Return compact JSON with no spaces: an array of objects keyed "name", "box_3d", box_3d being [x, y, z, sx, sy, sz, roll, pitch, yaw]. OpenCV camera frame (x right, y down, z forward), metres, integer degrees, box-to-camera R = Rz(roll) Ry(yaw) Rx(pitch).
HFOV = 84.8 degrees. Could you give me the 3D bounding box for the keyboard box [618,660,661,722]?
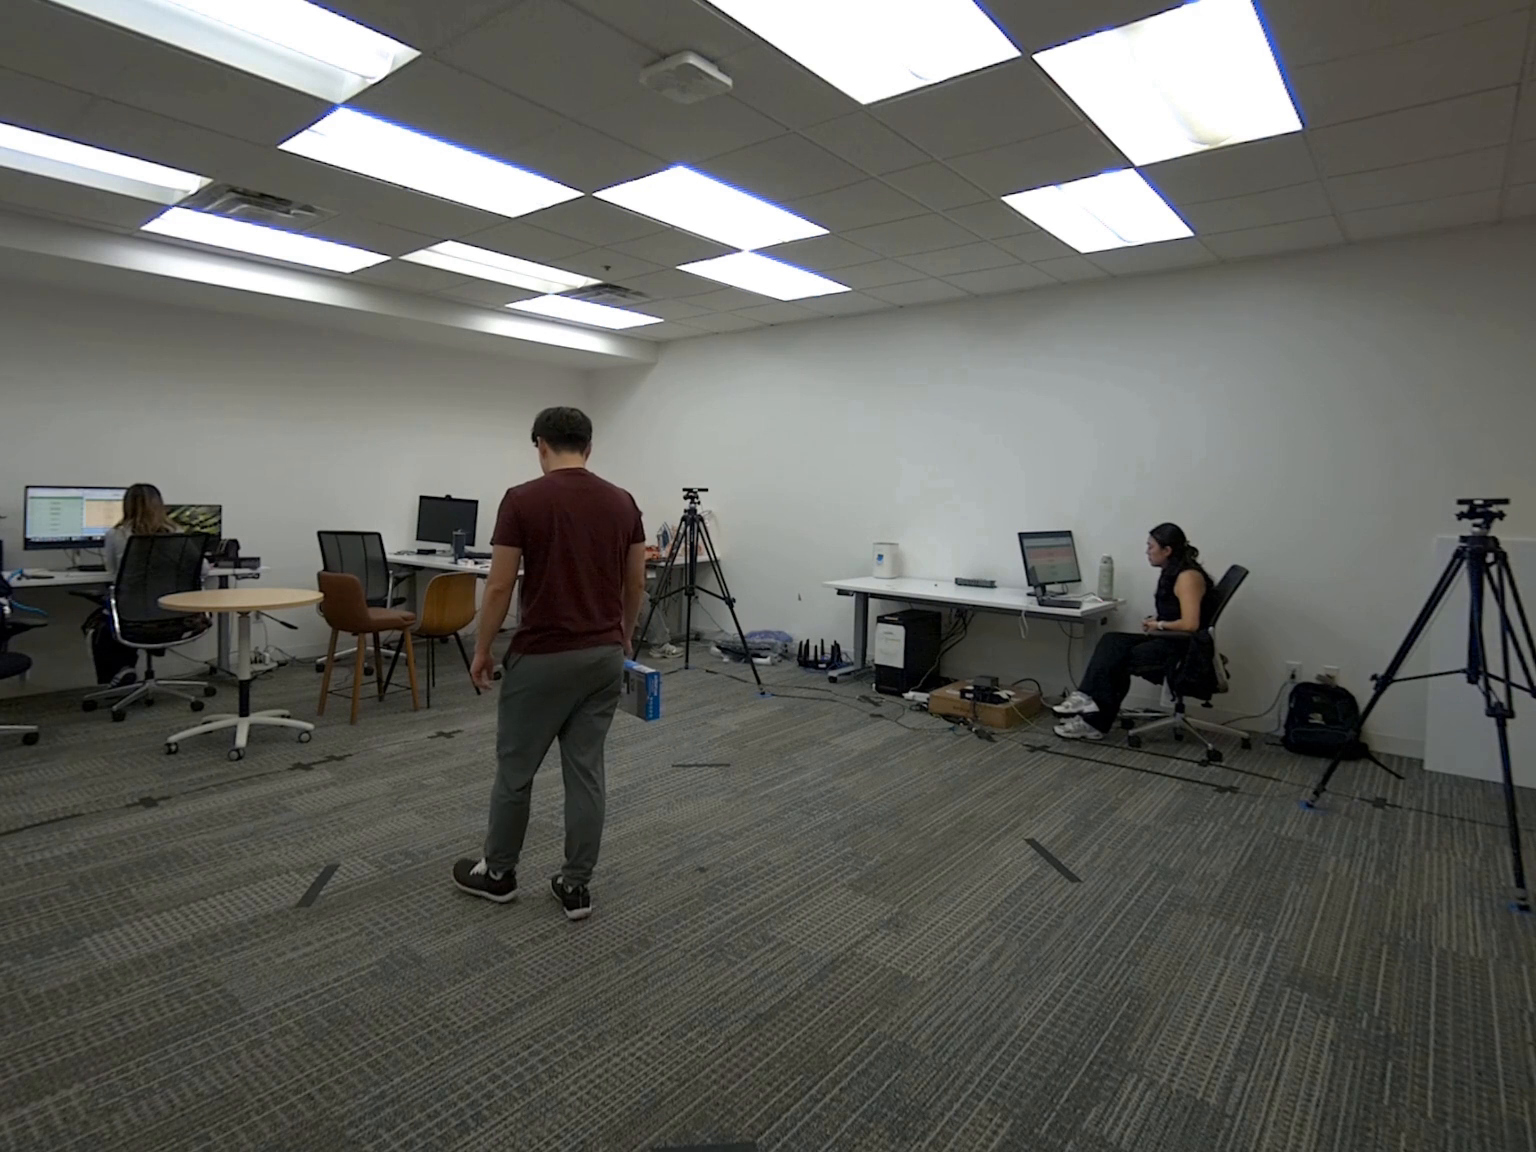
[{"name":"keyboard box","box_3d":[-0.562,0.392,3.114,0.057,0.175,0.453,-4,10,-42]}]
